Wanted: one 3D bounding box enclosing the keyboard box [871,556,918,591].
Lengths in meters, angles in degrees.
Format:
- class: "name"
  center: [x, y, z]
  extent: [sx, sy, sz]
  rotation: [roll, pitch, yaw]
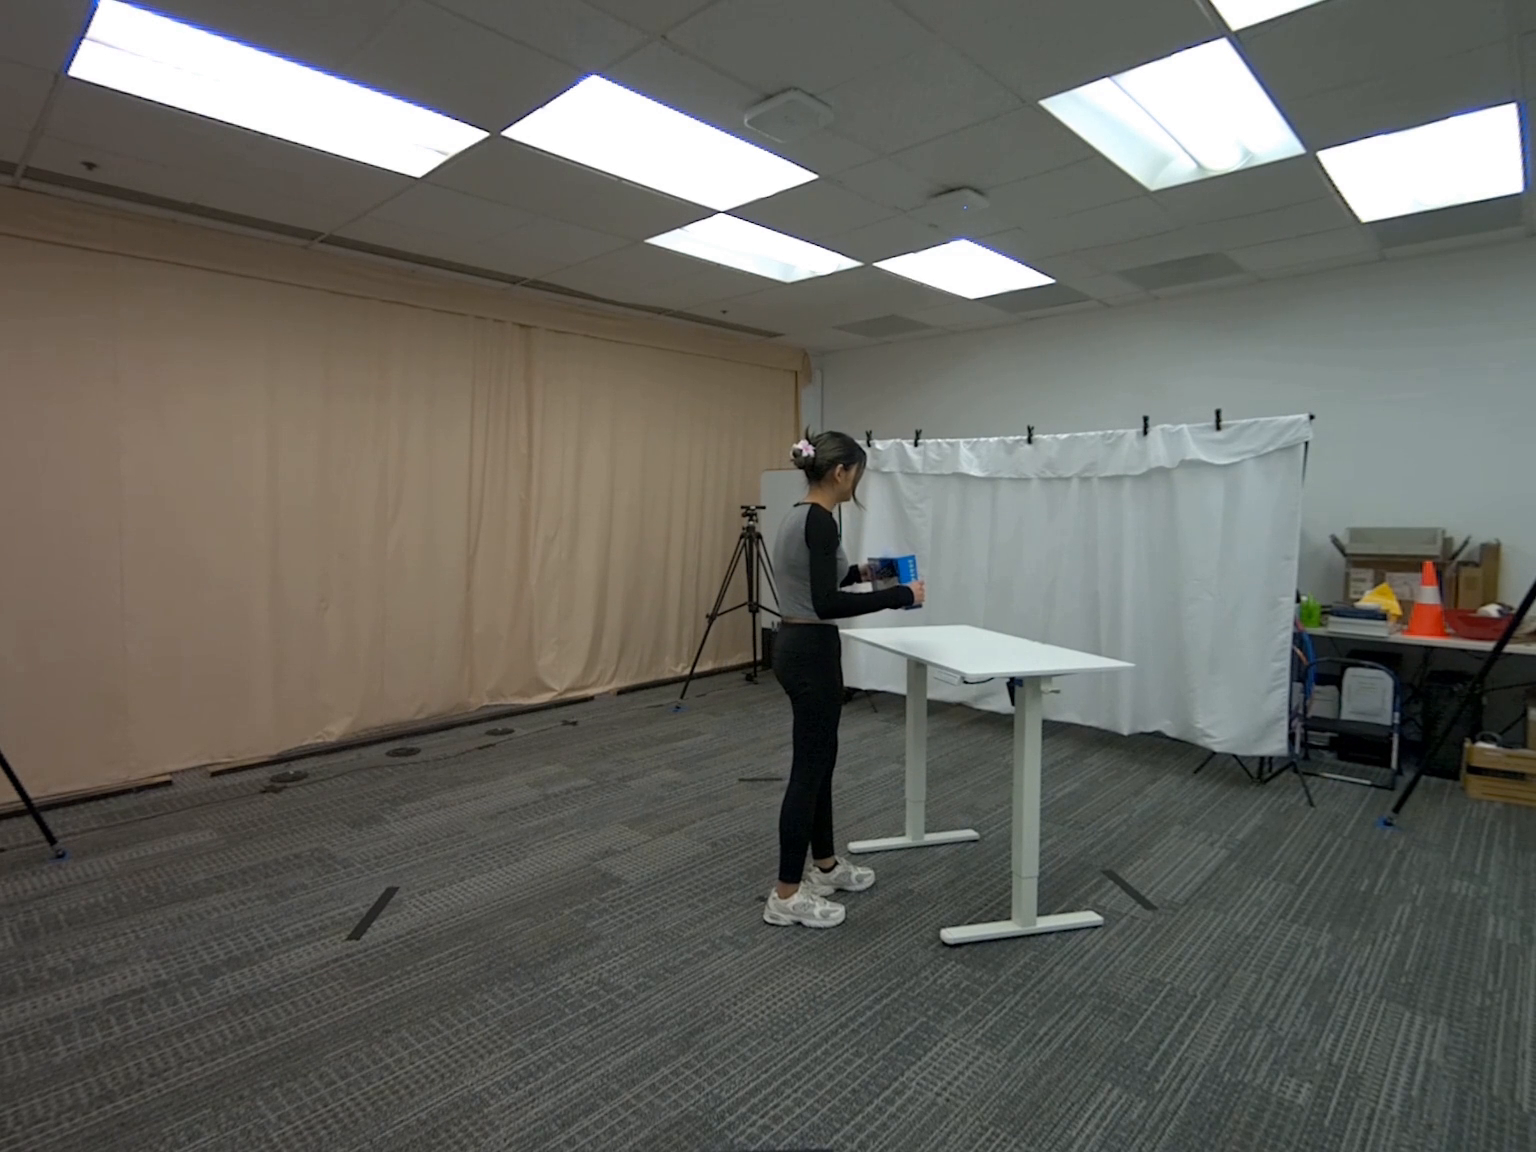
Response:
- class: "keyboard box"
  center: [0.446, 0.022, 2.876]
  extent: [0.059, 0.176, 0.438]
  rotation: [-8, 0, -6]
